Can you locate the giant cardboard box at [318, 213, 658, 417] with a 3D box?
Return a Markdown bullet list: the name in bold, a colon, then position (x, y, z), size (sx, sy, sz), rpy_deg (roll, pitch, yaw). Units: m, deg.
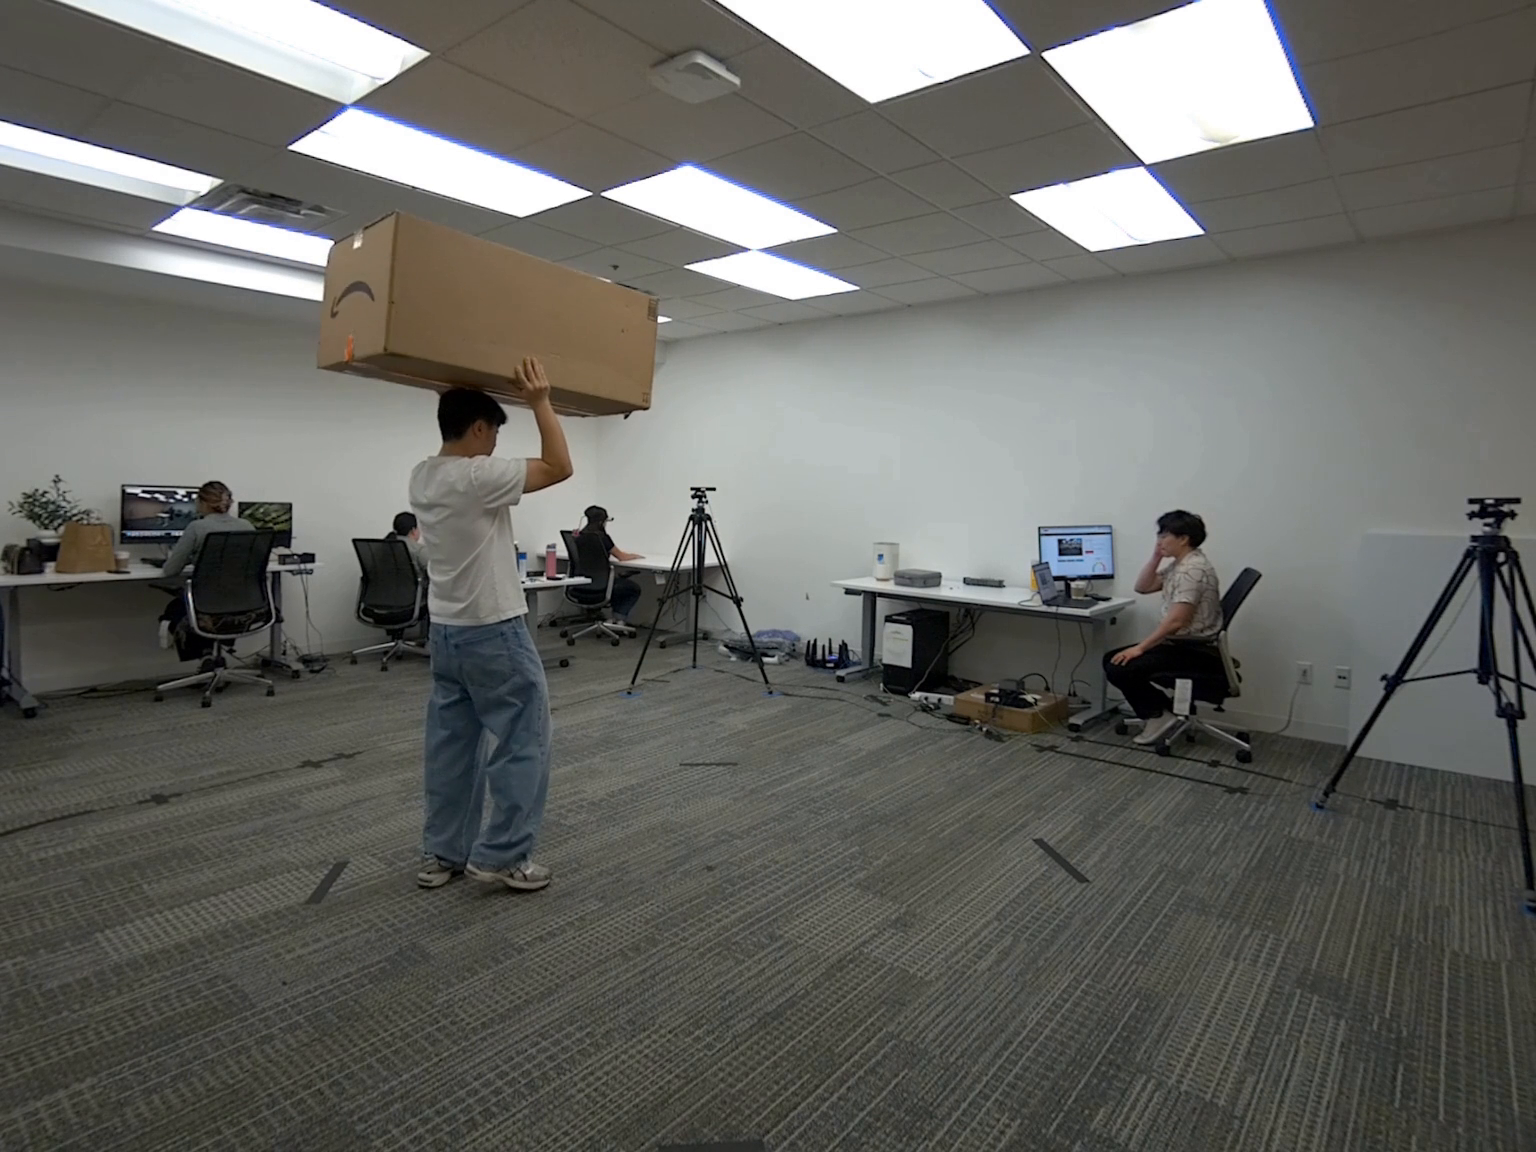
- **giant cardboard box**: position (-0.989, -0.872, 3.048), size (0.597, 0.426, 0.992), rpy_deg (6, 3, 44)
